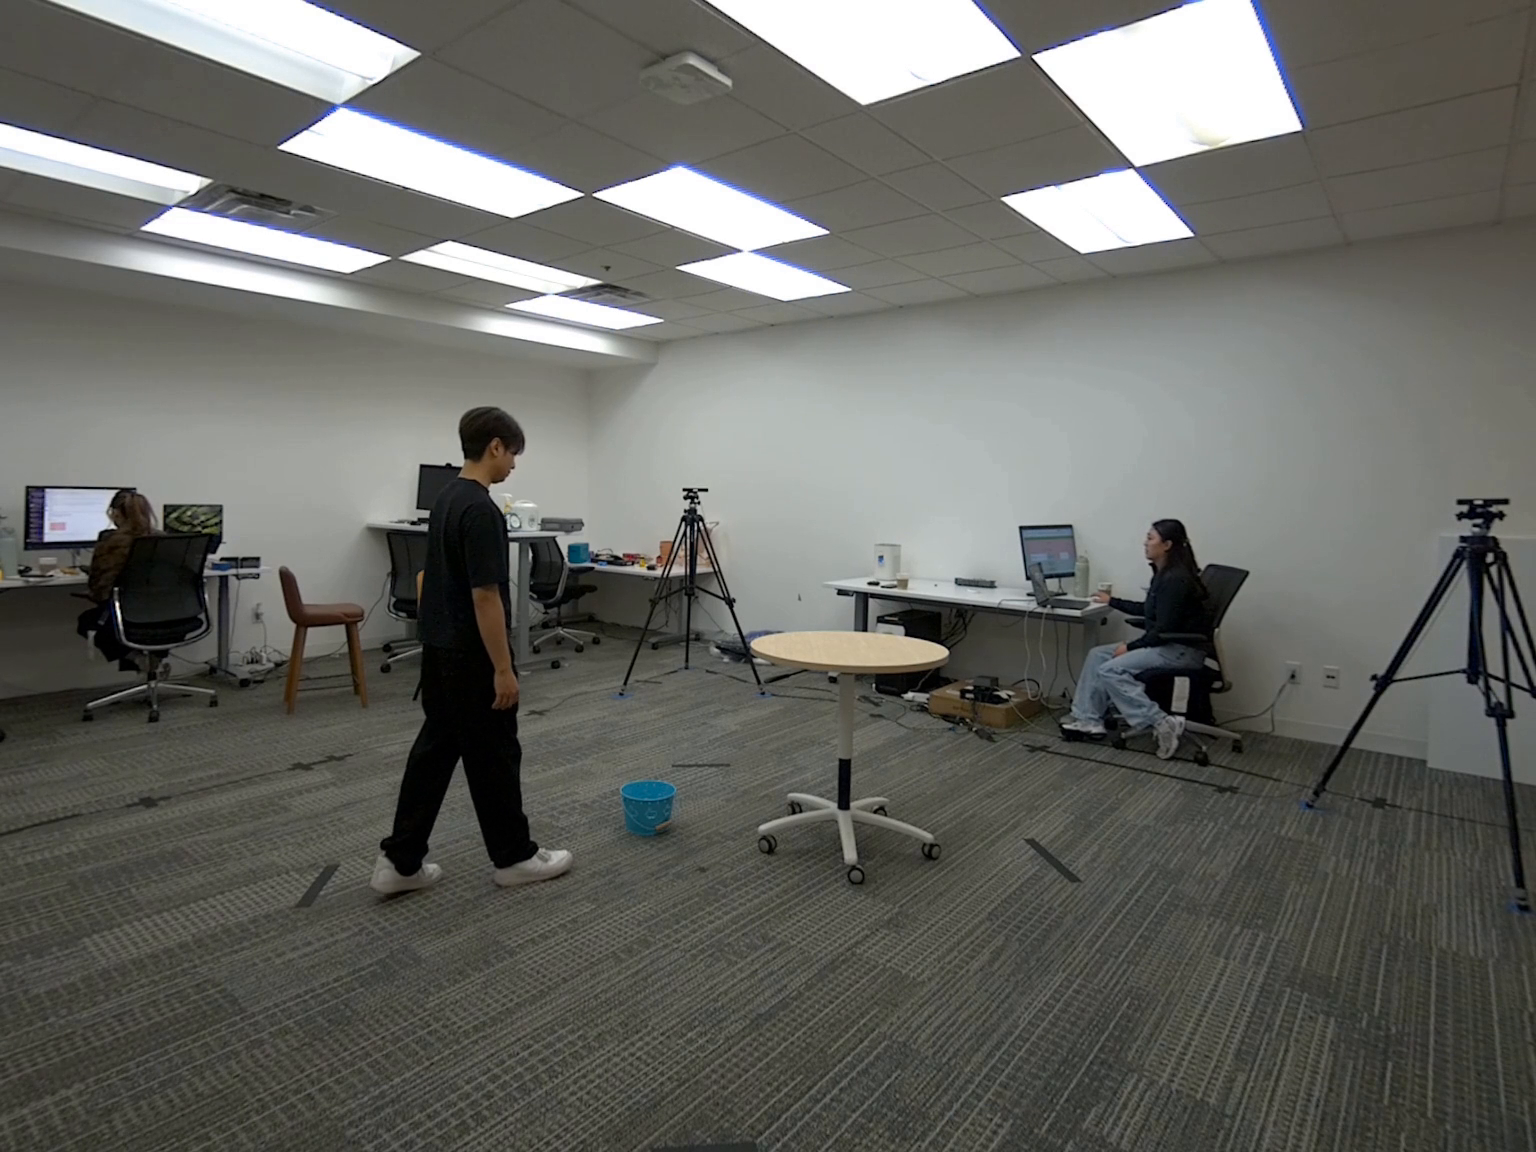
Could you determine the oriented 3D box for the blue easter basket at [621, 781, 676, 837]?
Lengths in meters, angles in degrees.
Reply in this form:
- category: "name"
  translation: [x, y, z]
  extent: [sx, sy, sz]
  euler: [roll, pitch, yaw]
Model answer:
- category: "blue easter basket"
  translation: [-0.507, 0.948, 3.495]
  extent: [0.243, 0.155, 0.245]
  euler: [0, 5, -2]
